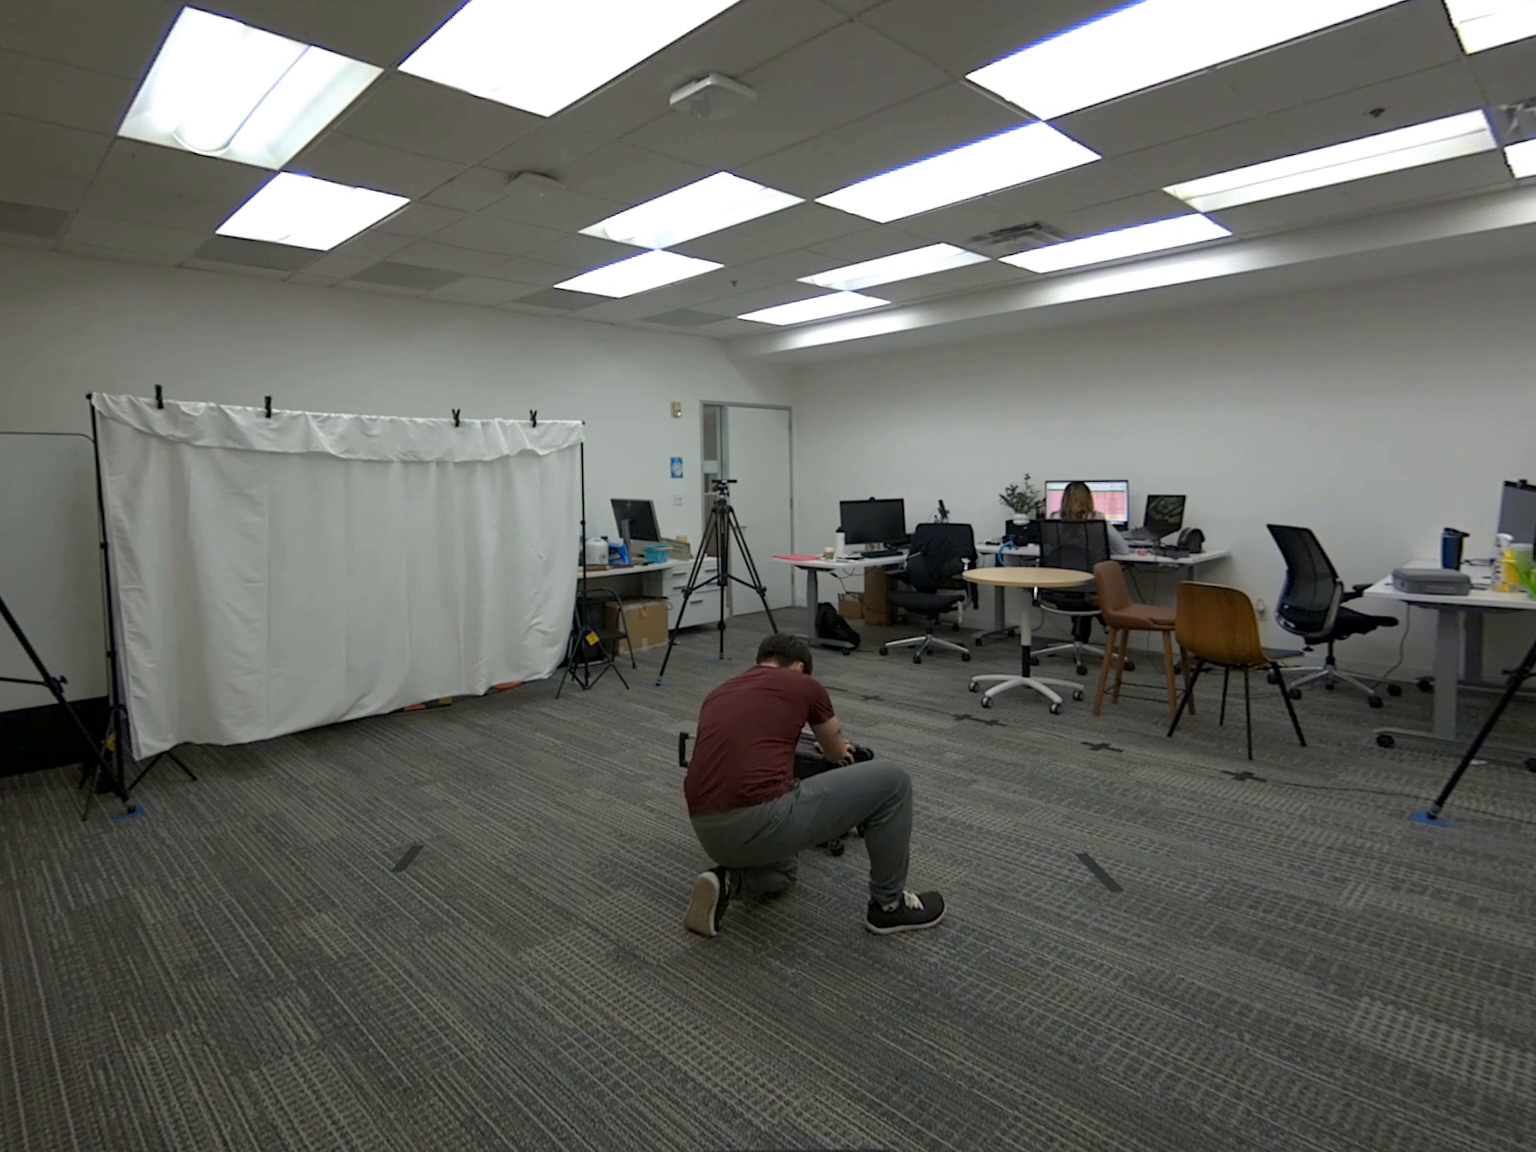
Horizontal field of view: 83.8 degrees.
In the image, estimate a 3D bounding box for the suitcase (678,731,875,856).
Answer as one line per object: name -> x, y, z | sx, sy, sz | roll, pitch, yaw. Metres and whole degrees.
suitcase -> -0.040, 0.811, 3.542 | 1.007, 0.384, 0.250 | 3, 2, 37
